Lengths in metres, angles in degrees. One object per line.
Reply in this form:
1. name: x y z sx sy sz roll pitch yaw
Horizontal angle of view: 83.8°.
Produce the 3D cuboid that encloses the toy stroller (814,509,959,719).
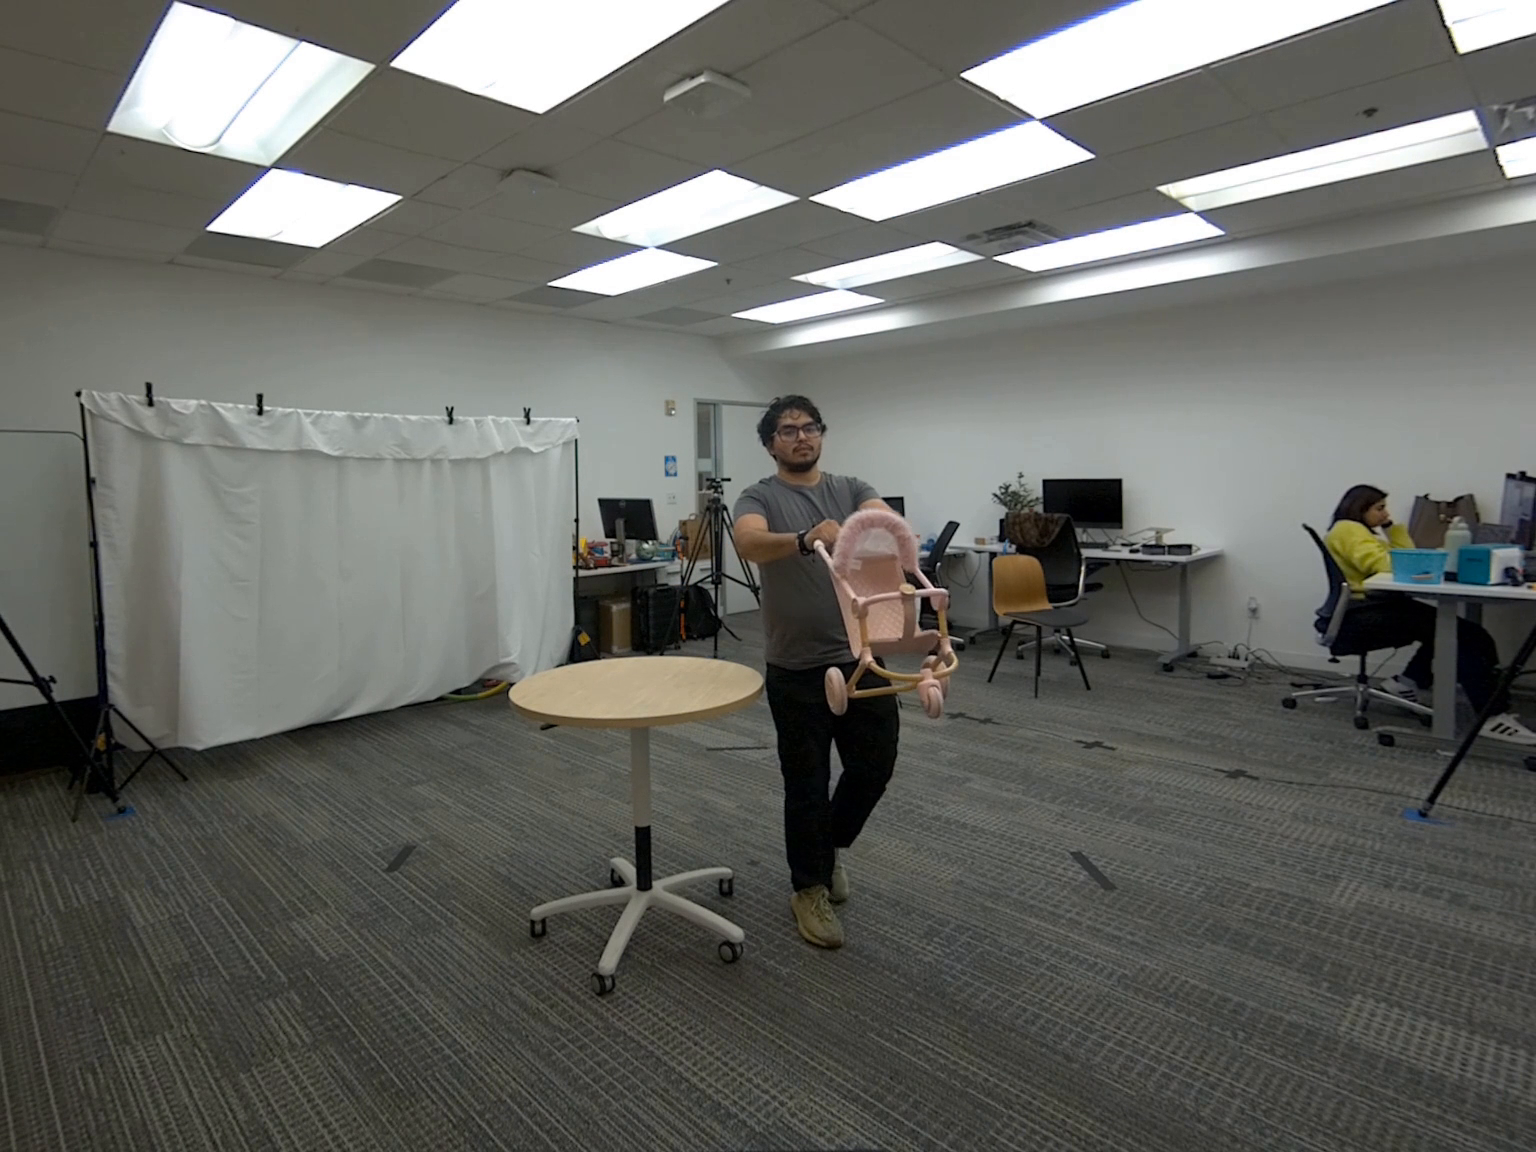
1. toy stroller: 0.273 0.083 1.960 0.279 0.545 0.338 -6 -19 -10
